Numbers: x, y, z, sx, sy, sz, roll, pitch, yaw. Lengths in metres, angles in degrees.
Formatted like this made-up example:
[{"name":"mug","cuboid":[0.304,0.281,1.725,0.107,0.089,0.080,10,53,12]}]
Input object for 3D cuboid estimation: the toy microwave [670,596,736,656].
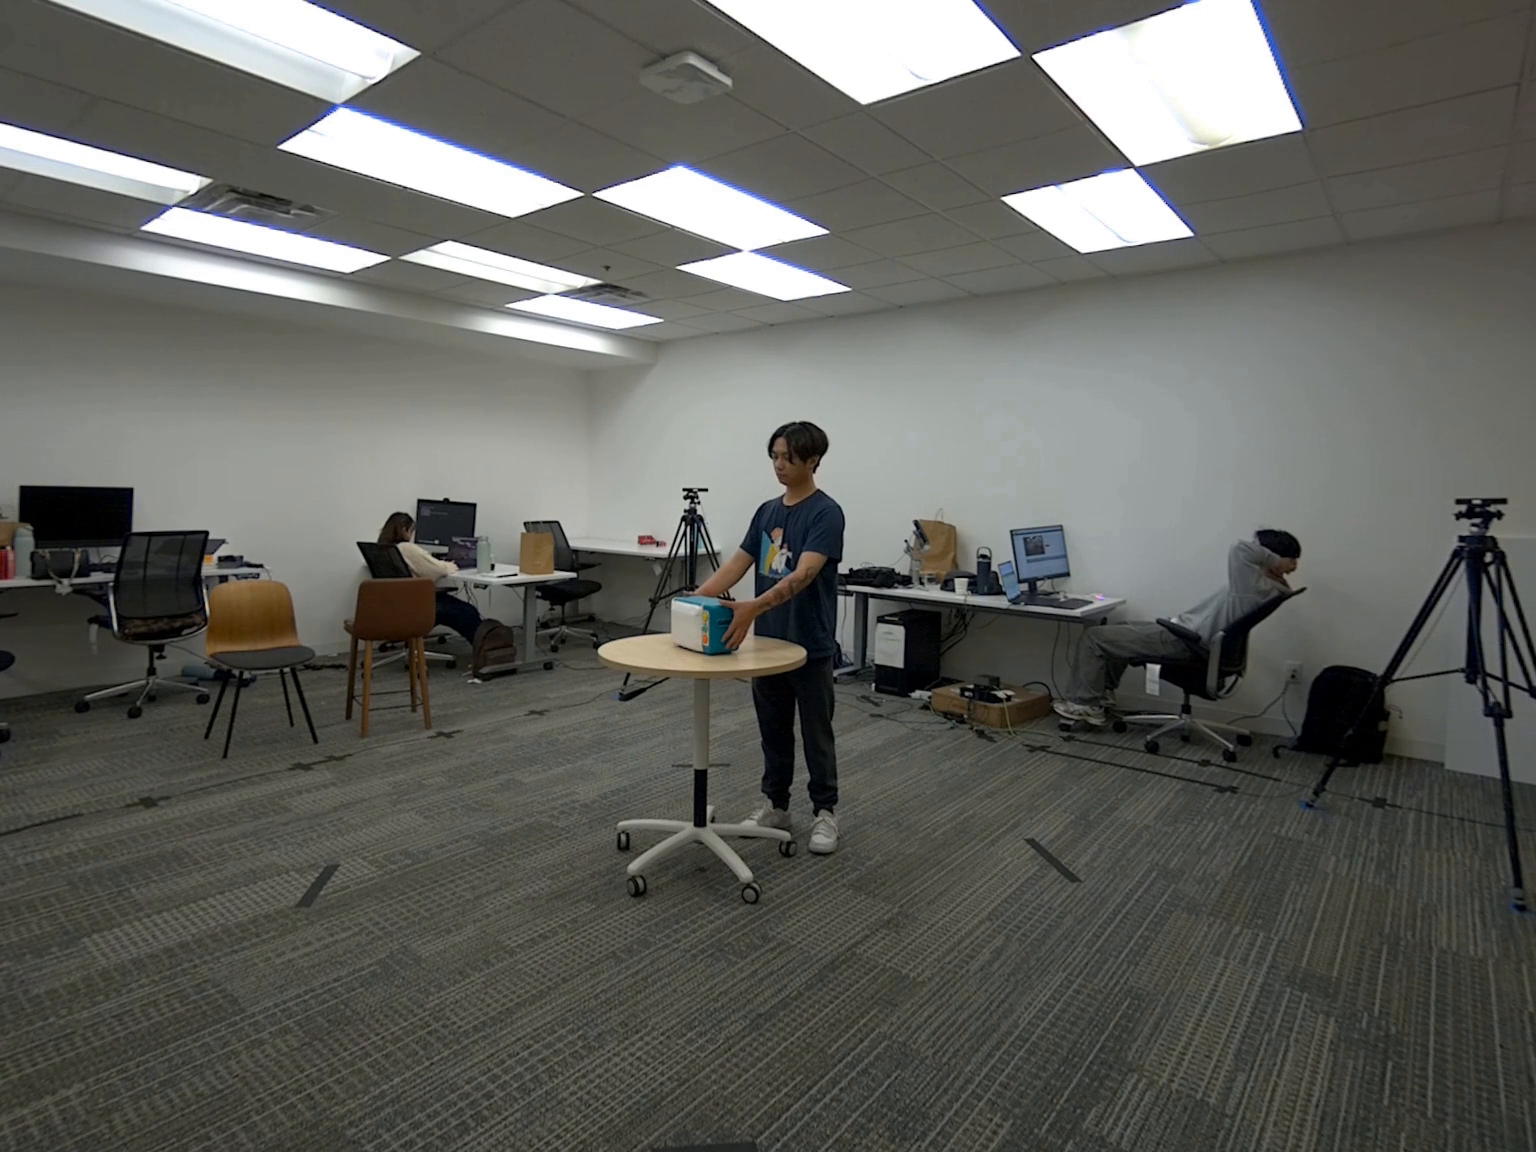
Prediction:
[{"name":"toy microwave","cuboid":[-0.252,0.175,3.131,0.148,0.183,0.295,-1,5,-33]}]
